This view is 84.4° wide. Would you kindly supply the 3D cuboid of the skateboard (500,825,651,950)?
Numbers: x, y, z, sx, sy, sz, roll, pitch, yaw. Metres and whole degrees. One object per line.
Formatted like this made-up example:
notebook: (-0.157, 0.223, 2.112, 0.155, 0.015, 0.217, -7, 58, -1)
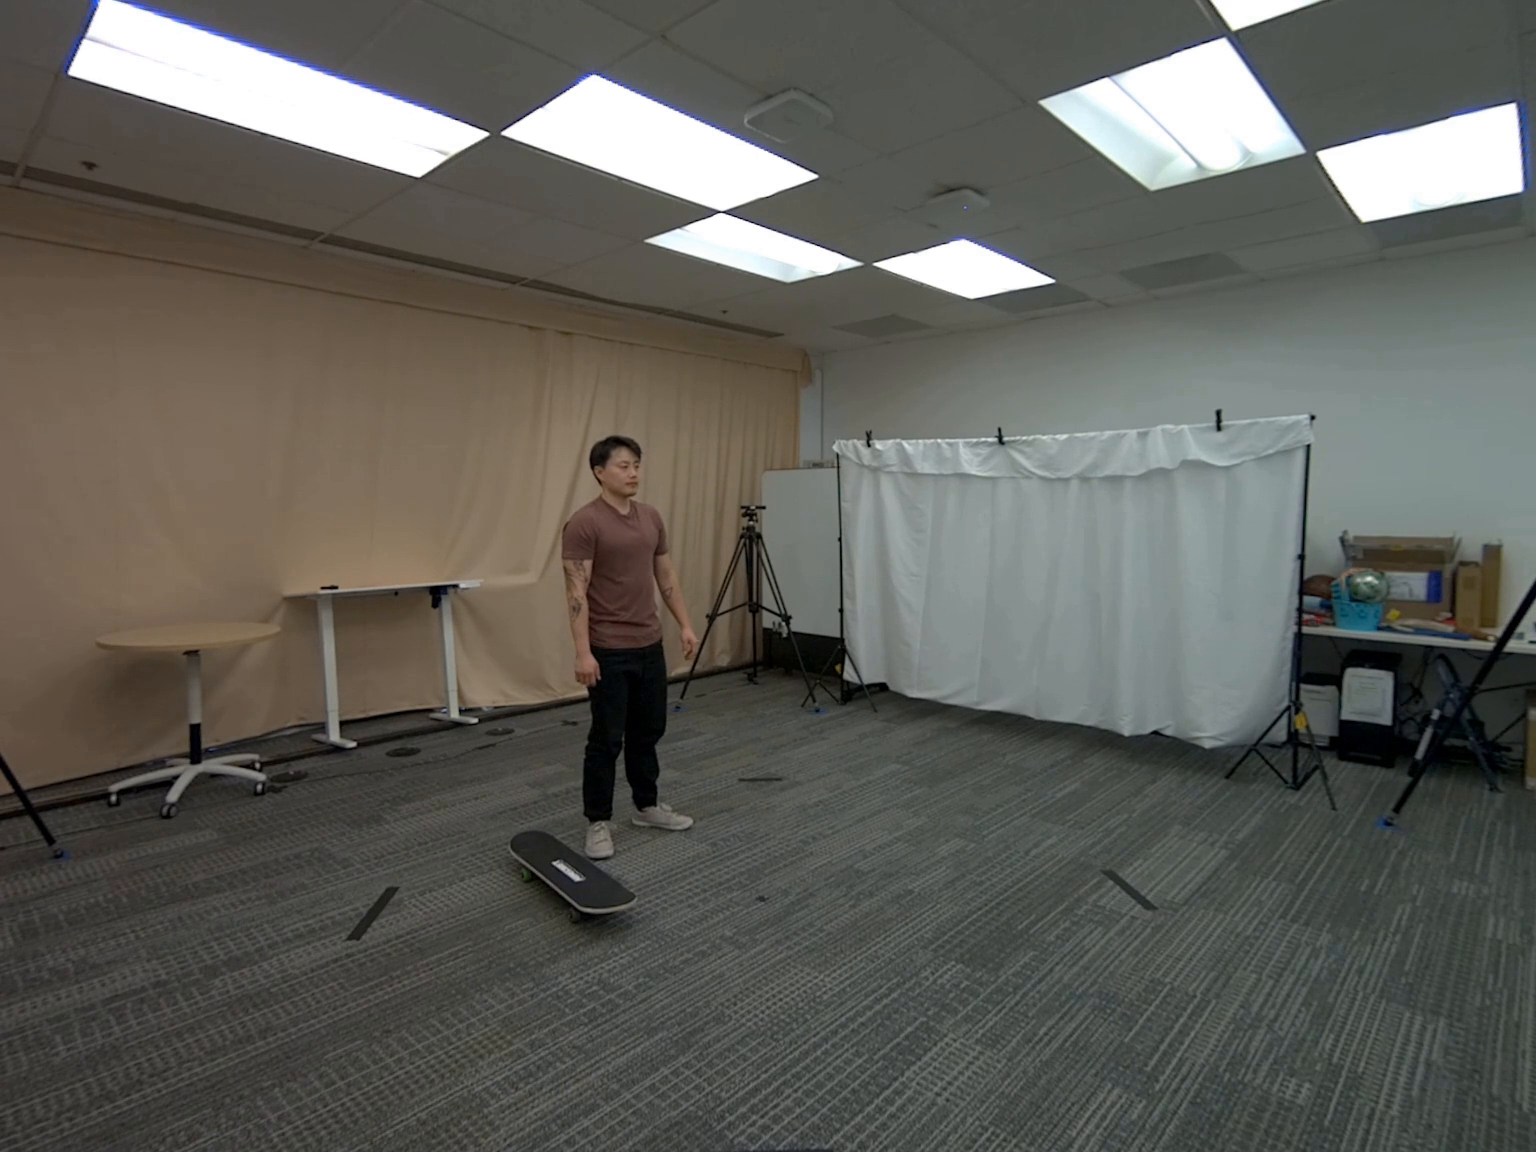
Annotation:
skateboard: (-0.714, 1.087, 3.033, 0.188, 0.110, 0.811, -6, 7, -38)
